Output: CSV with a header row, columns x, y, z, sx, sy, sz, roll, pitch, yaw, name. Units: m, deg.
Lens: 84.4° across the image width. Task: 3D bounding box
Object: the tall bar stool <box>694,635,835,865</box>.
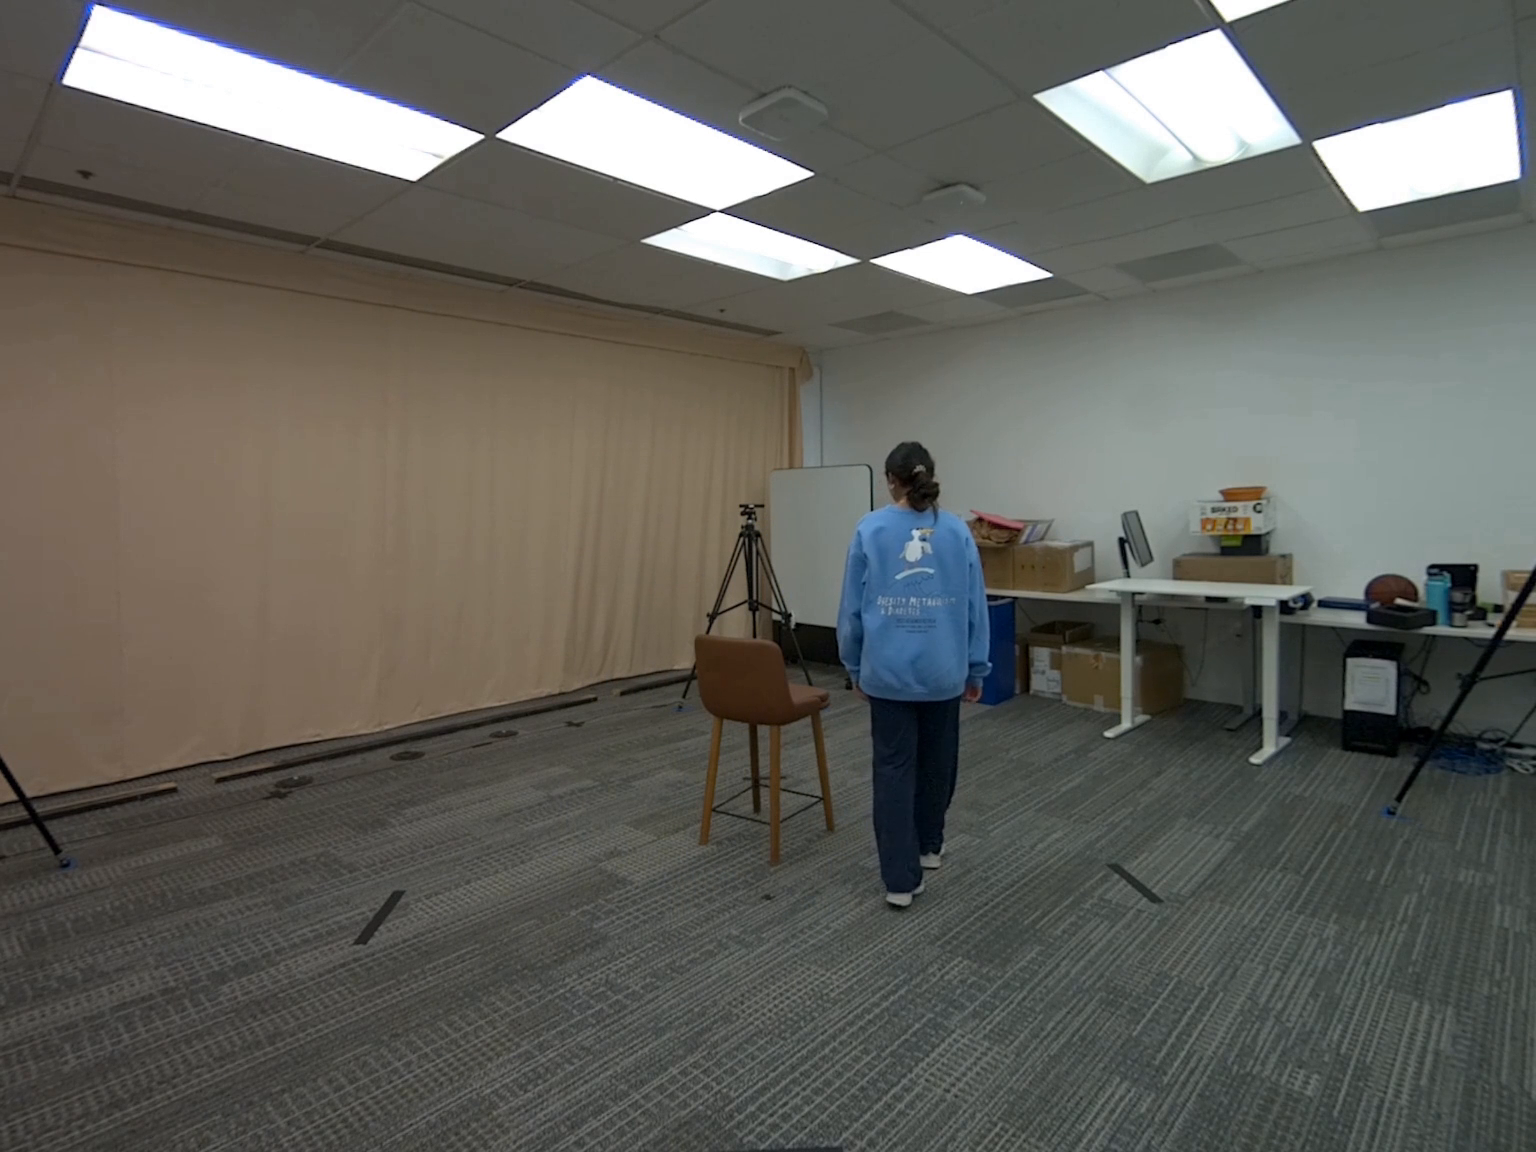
x,y,z,sx,sy,sz,roll,pitch,yaw,name
-0.015,0.662,3.509,0.471,0.887,0.455,1,5,35,tall bar stool
